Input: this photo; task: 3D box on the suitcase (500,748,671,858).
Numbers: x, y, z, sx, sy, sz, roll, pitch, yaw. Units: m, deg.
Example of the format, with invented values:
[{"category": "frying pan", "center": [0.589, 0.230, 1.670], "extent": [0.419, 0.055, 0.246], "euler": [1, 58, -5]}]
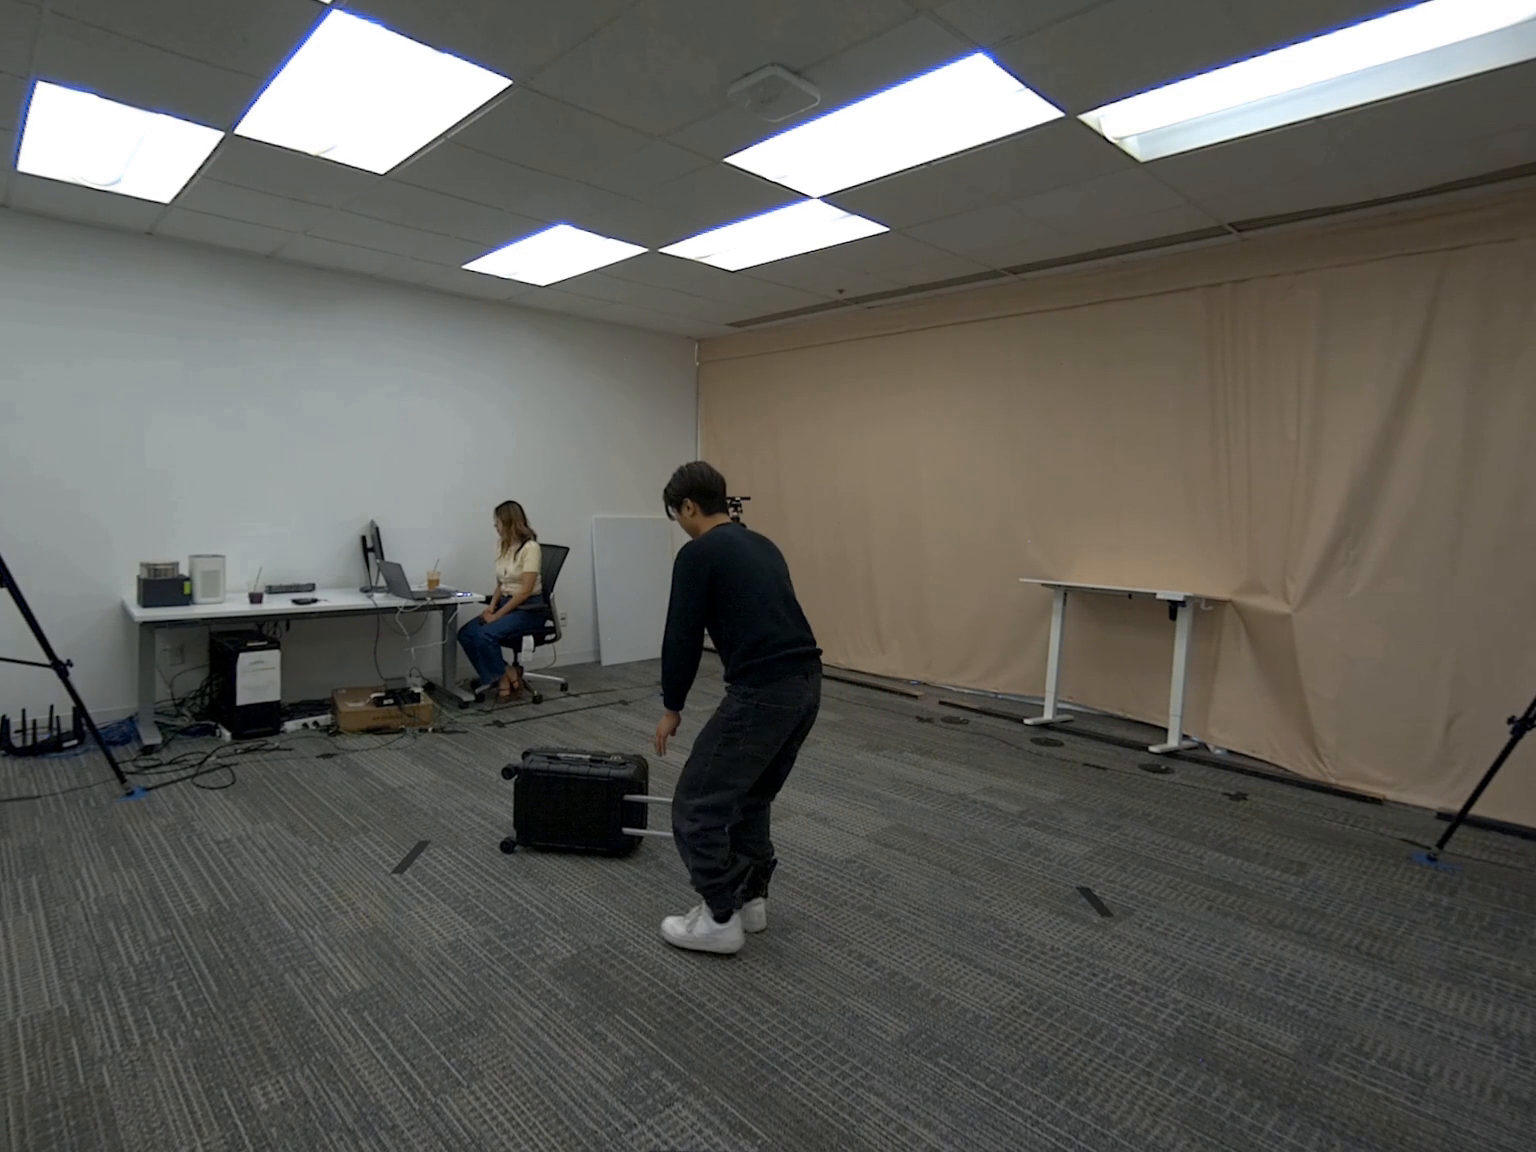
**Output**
[{"category": "suitcase", "center": [-0.543, 0.890, 3.304], "extent": [0.984, 0.383, 0.256], "euler": [2, 5, 7]}]
